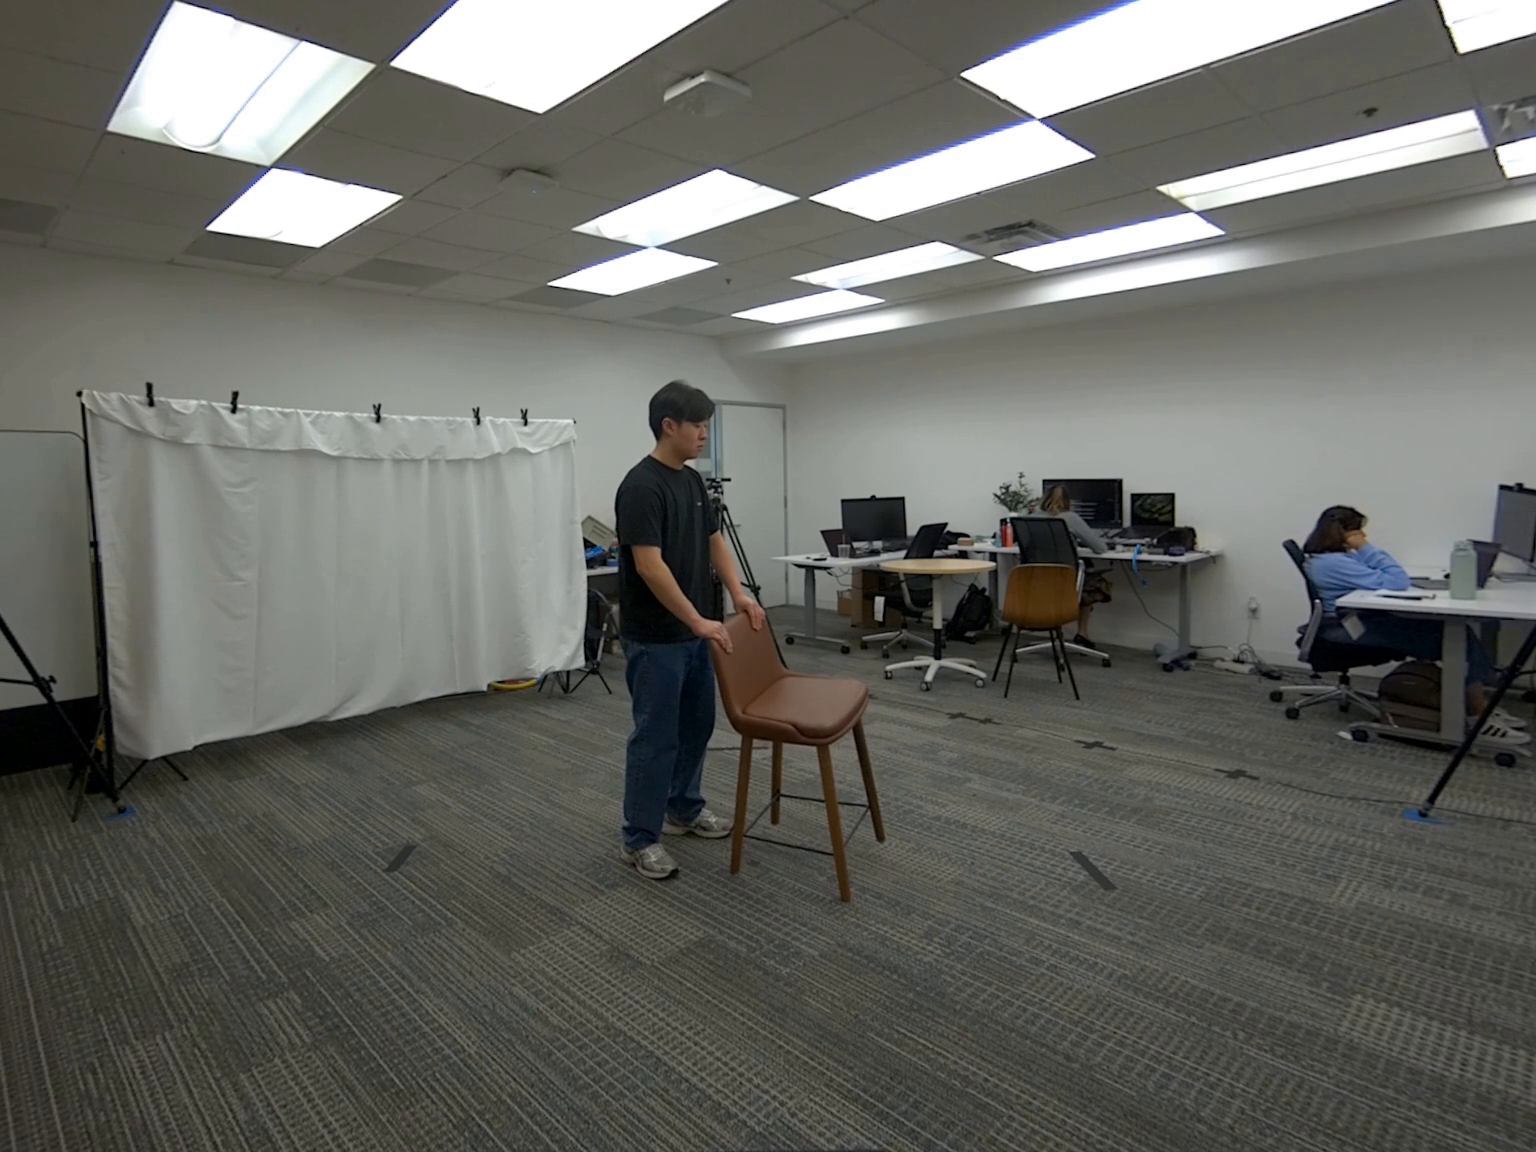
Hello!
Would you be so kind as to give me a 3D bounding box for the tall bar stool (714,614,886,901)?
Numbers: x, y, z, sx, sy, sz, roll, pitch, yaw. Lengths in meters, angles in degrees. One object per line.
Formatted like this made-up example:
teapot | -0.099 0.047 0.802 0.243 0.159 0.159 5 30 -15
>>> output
tall bar stool | 0.108 0.591 3.007 0.479 0.881 0.450 -1 11 28
